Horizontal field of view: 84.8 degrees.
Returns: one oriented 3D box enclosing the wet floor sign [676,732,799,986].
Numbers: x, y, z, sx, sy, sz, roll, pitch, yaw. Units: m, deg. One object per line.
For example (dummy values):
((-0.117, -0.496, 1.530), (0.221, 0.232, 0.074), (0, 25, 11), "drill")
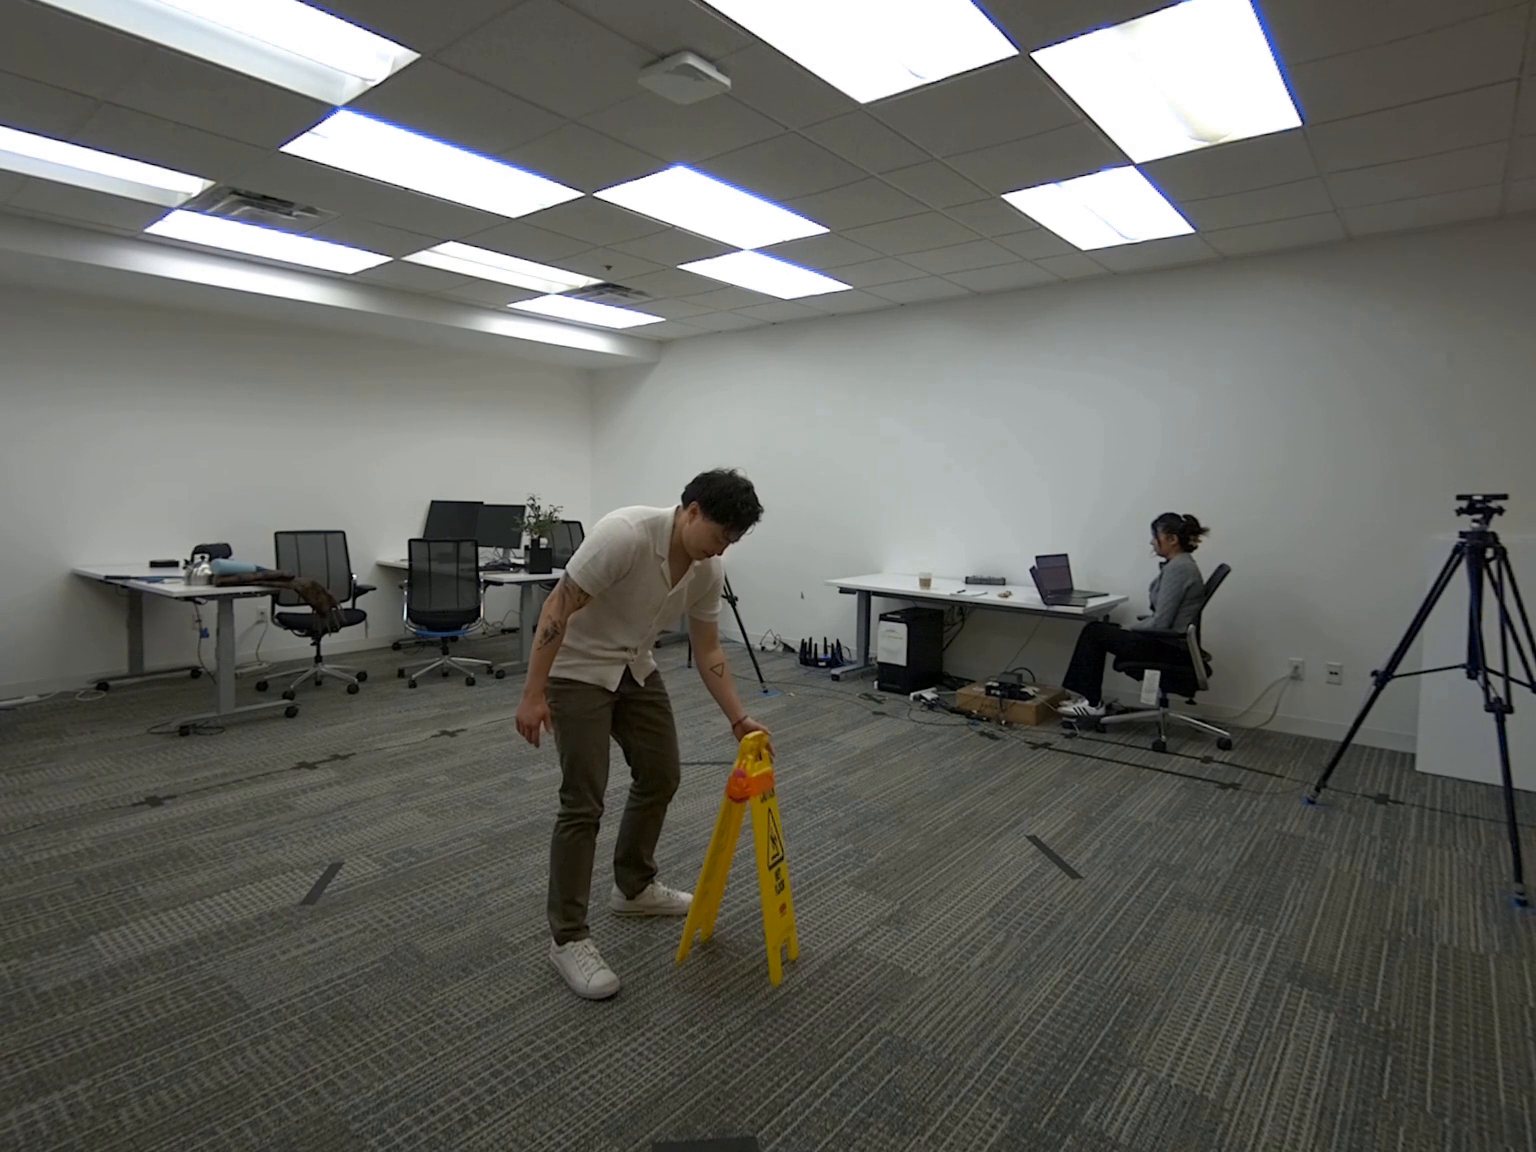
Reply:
((-0.066, 0.793, 2.501), (0.296, 0.649, 0.275), (3, -5, 18), "wet floor sign")
